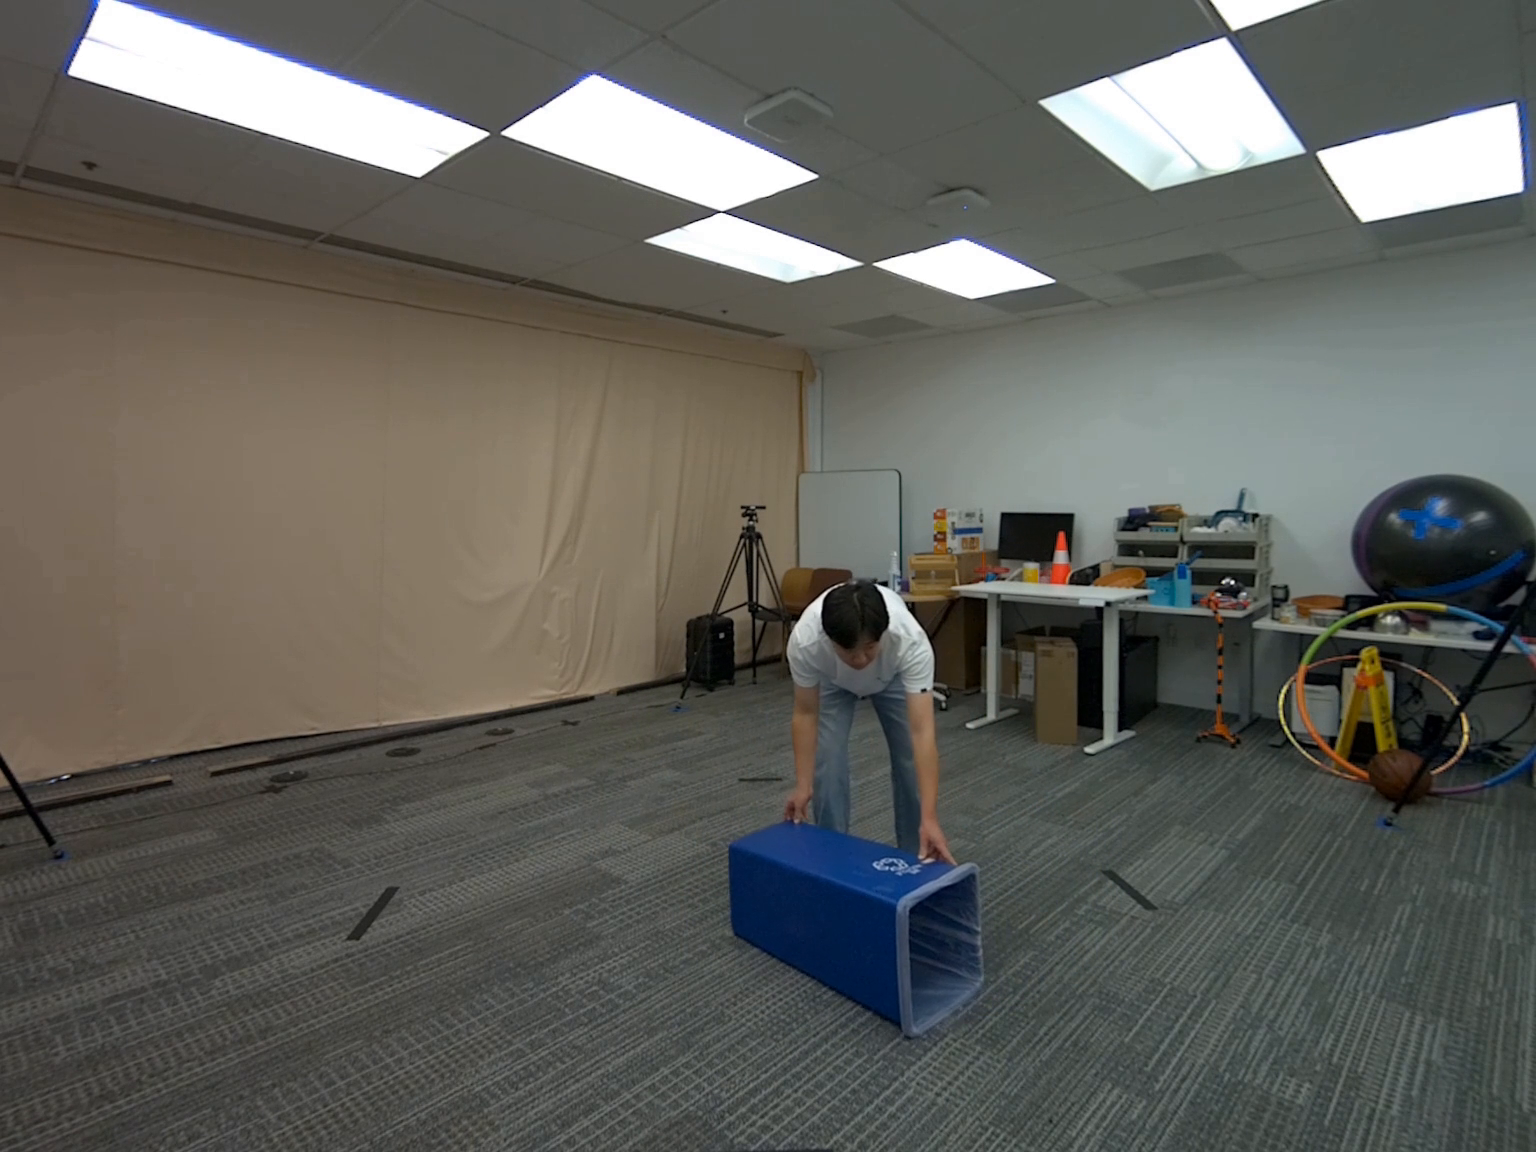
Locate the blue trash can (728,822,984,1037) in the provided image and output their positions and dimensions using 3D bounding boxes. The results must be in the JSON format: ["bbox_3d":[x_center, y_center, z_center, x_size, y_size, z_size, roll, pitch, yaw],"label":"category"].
[{"bbox_3d":[0.233,1.014,2.557,0.363,0.377,0.736,-6,4,-45],"label":"blue trash can"}]
